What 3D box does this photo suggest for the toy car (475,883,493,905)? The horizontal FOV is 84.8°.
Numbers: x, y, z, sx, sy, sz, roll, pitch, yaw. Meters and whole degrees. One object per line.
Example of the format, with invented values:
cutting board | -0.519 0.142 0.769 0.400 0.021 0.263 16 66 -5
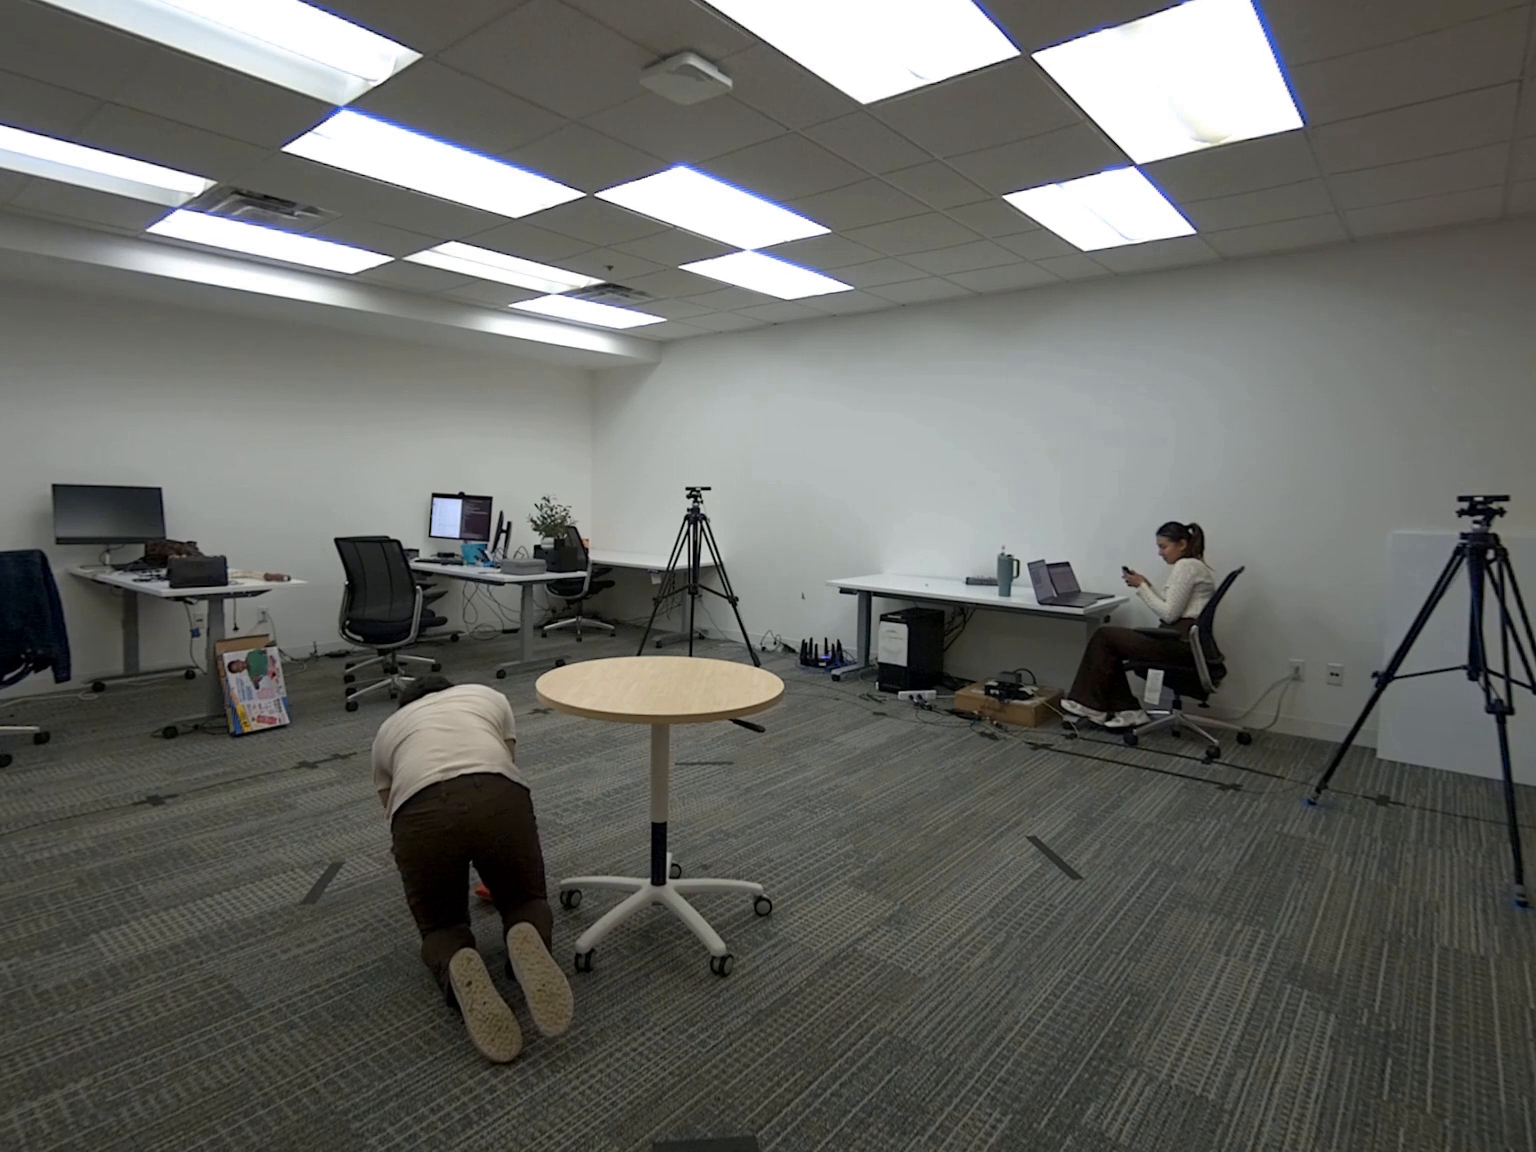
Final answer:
toy car | -0.903 1.047 2.898 0.133 0.083 0.248 2 -4 21
